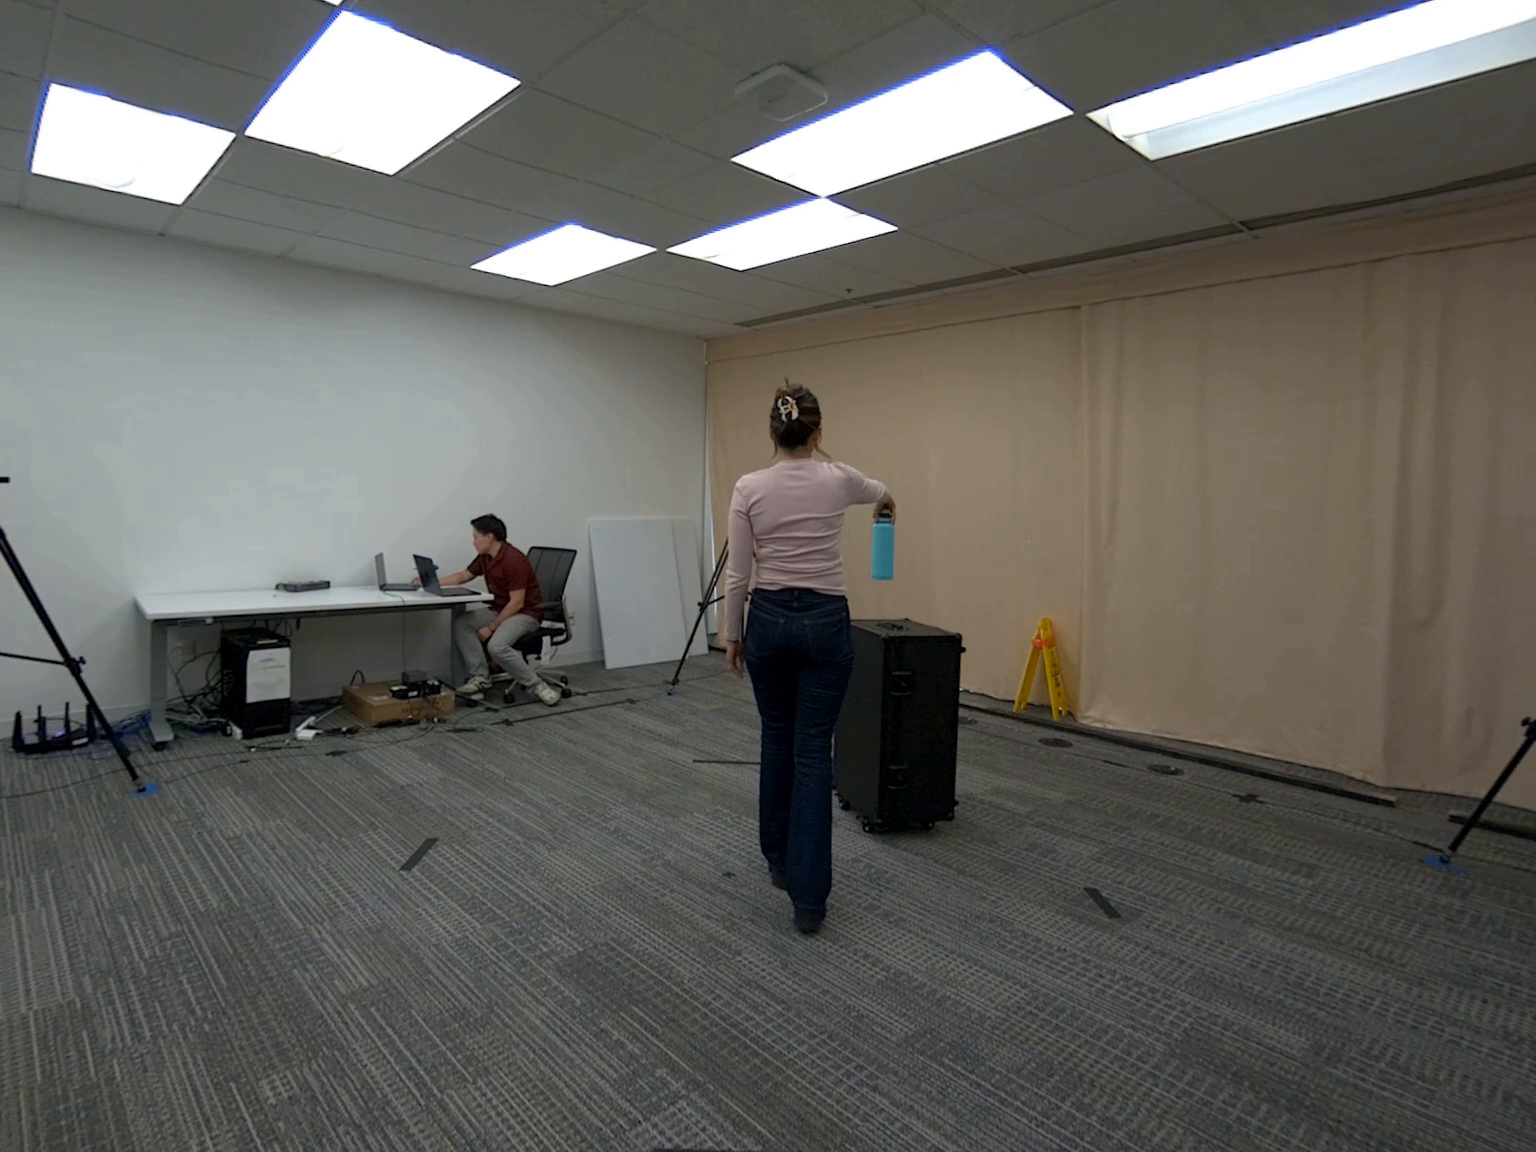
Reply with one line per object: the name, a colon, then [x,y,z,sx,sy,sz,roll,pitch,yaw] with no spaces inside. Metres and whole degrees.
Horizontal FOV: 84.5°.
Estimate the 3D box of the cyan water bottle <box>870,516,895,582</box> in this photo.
cyan water bottle: [0.461,-0.129,3.417,0.092,0.283,0.092,0,1,-1]
